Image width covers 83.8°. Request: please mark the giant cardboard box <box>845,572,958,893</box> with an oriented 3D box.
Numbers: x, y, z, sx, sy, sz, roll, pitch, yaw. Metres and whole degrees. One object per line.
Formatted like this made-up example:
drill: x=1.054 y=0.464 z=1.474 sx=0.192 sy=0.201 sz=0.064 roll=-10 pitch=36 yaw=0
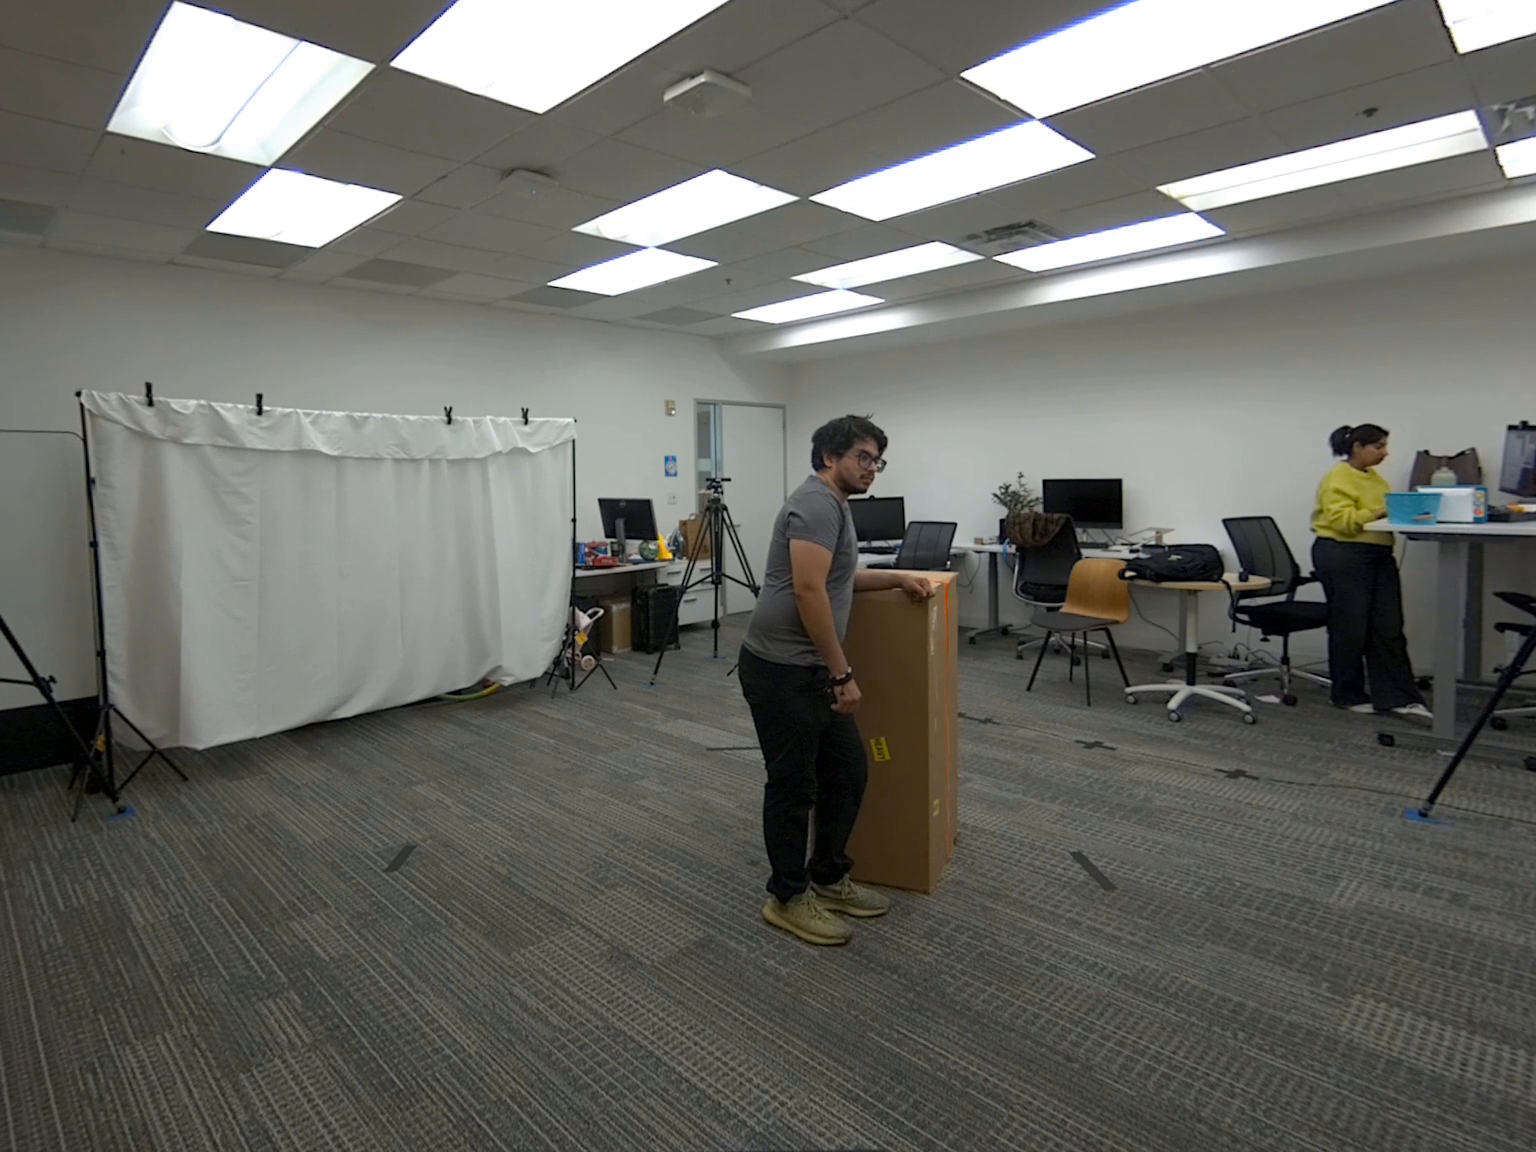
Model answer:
giant cardboard box: x=0.453 y=0.520 z=3.166 sx=0.436 sy=1.022 sz=0.567 roll=1 pitch=4 yaw=24
